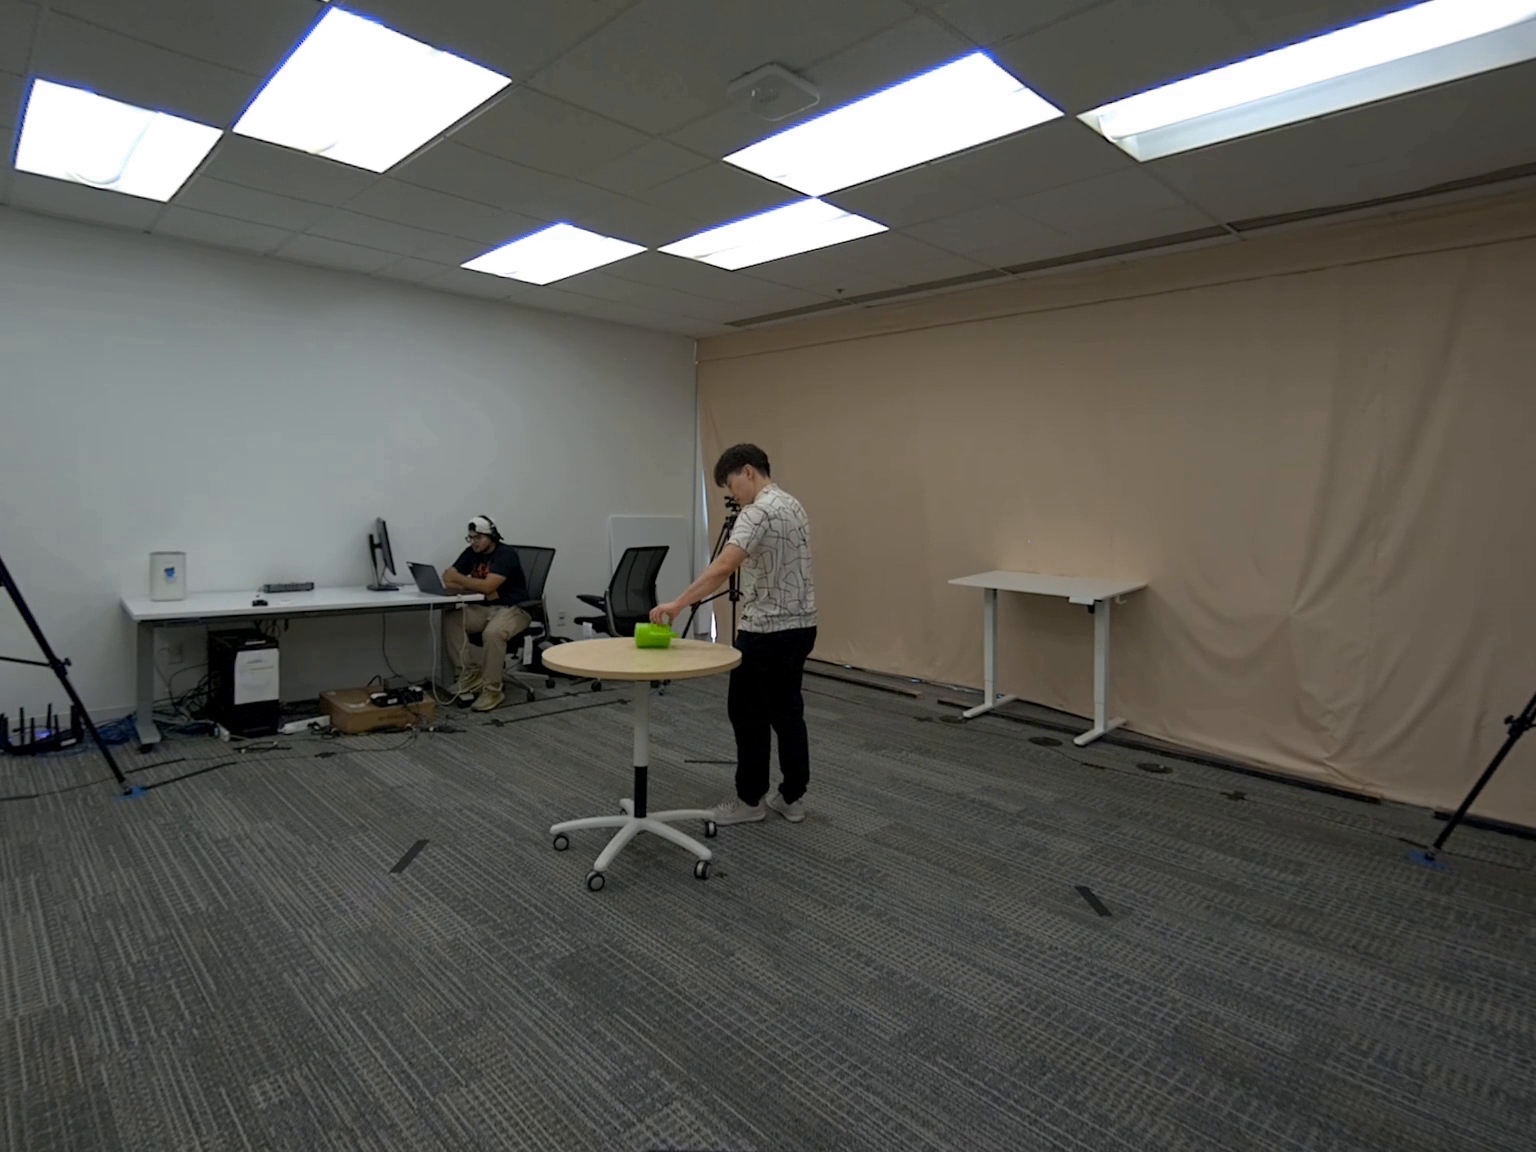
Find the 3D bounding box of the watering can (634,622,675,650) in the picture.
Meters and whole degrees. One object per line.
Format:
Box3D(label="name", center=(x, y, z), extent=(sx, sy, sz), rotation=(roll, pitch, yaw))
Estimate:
Box3D(label="watering can", center=(-0.465, 0.254, 3.433), extent=(0.175, 0.099, 0.277), rotation=(2, -16, -12))
